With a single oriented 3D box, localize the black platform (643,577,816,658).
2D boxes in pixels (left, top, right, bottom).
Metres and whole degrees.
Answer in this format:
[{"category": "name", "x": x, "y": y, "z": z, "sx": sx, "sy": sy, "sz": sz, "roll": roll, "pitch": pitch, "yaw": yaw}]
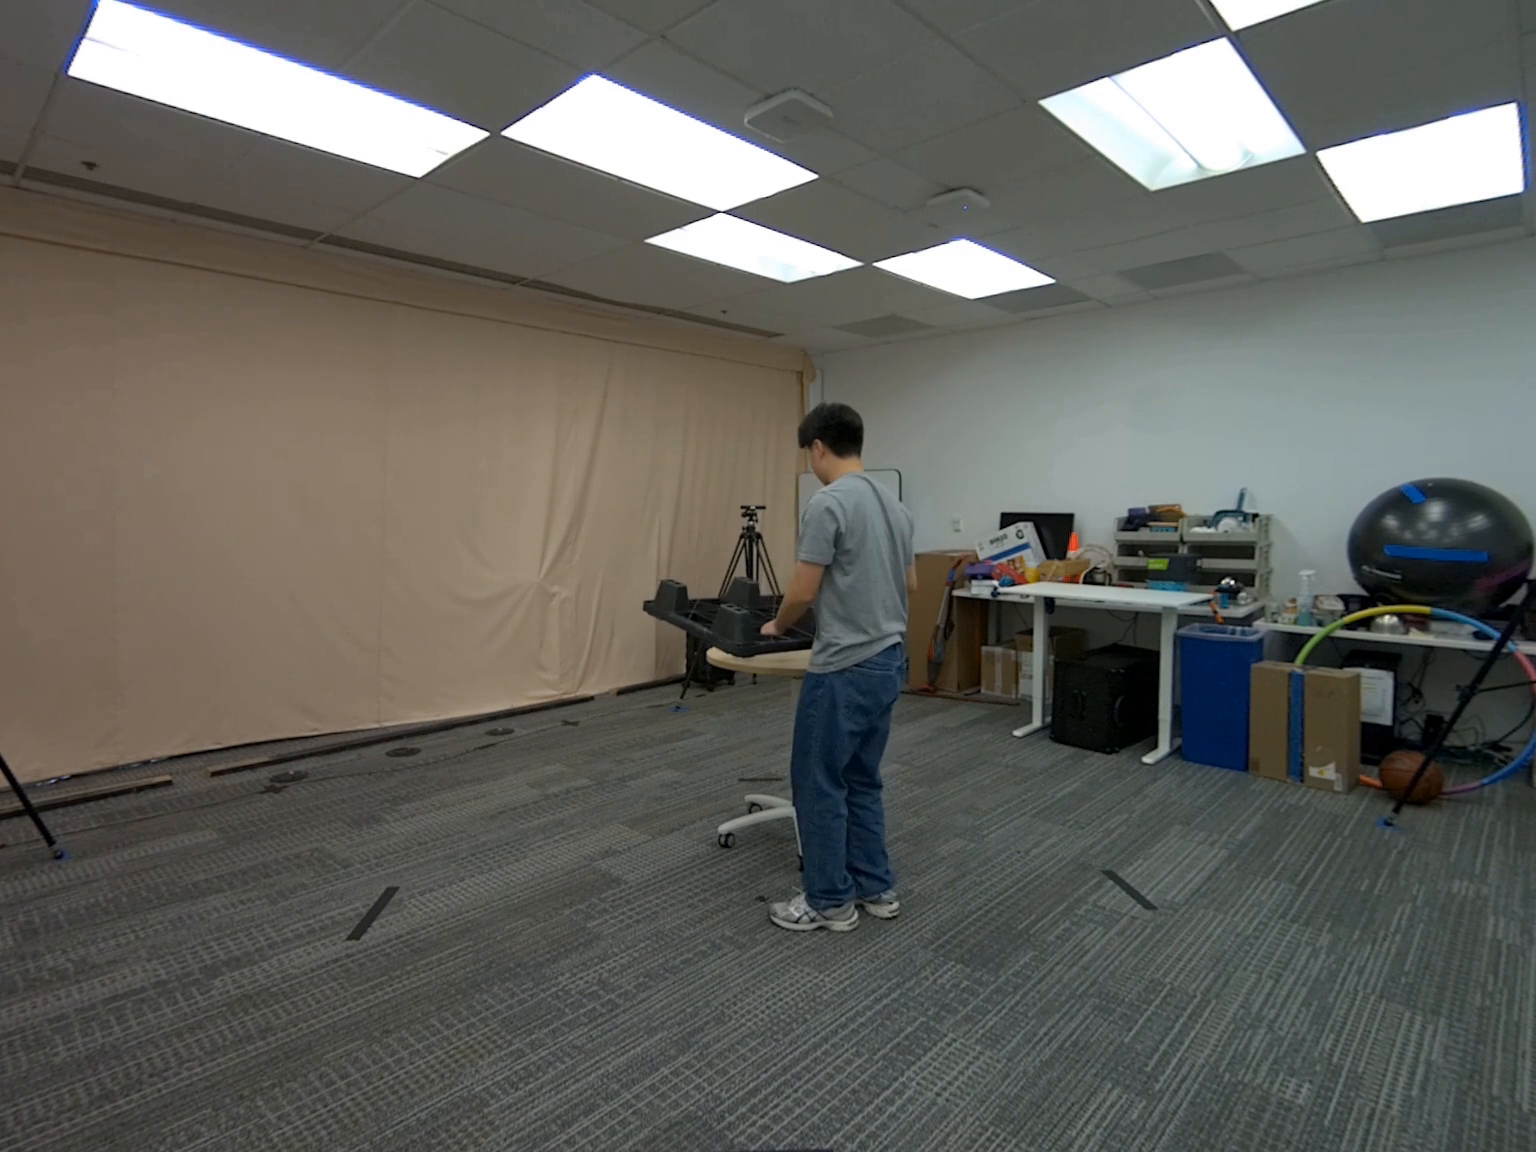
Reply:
[{"category": "black platform", "x": 0.027, "y": 0.124, "z": 3.138, "sx": 0.781, "sy": 0.142, "sz": 0.627, "roll": -2, "pitch": 13, "yaw": -38}]
